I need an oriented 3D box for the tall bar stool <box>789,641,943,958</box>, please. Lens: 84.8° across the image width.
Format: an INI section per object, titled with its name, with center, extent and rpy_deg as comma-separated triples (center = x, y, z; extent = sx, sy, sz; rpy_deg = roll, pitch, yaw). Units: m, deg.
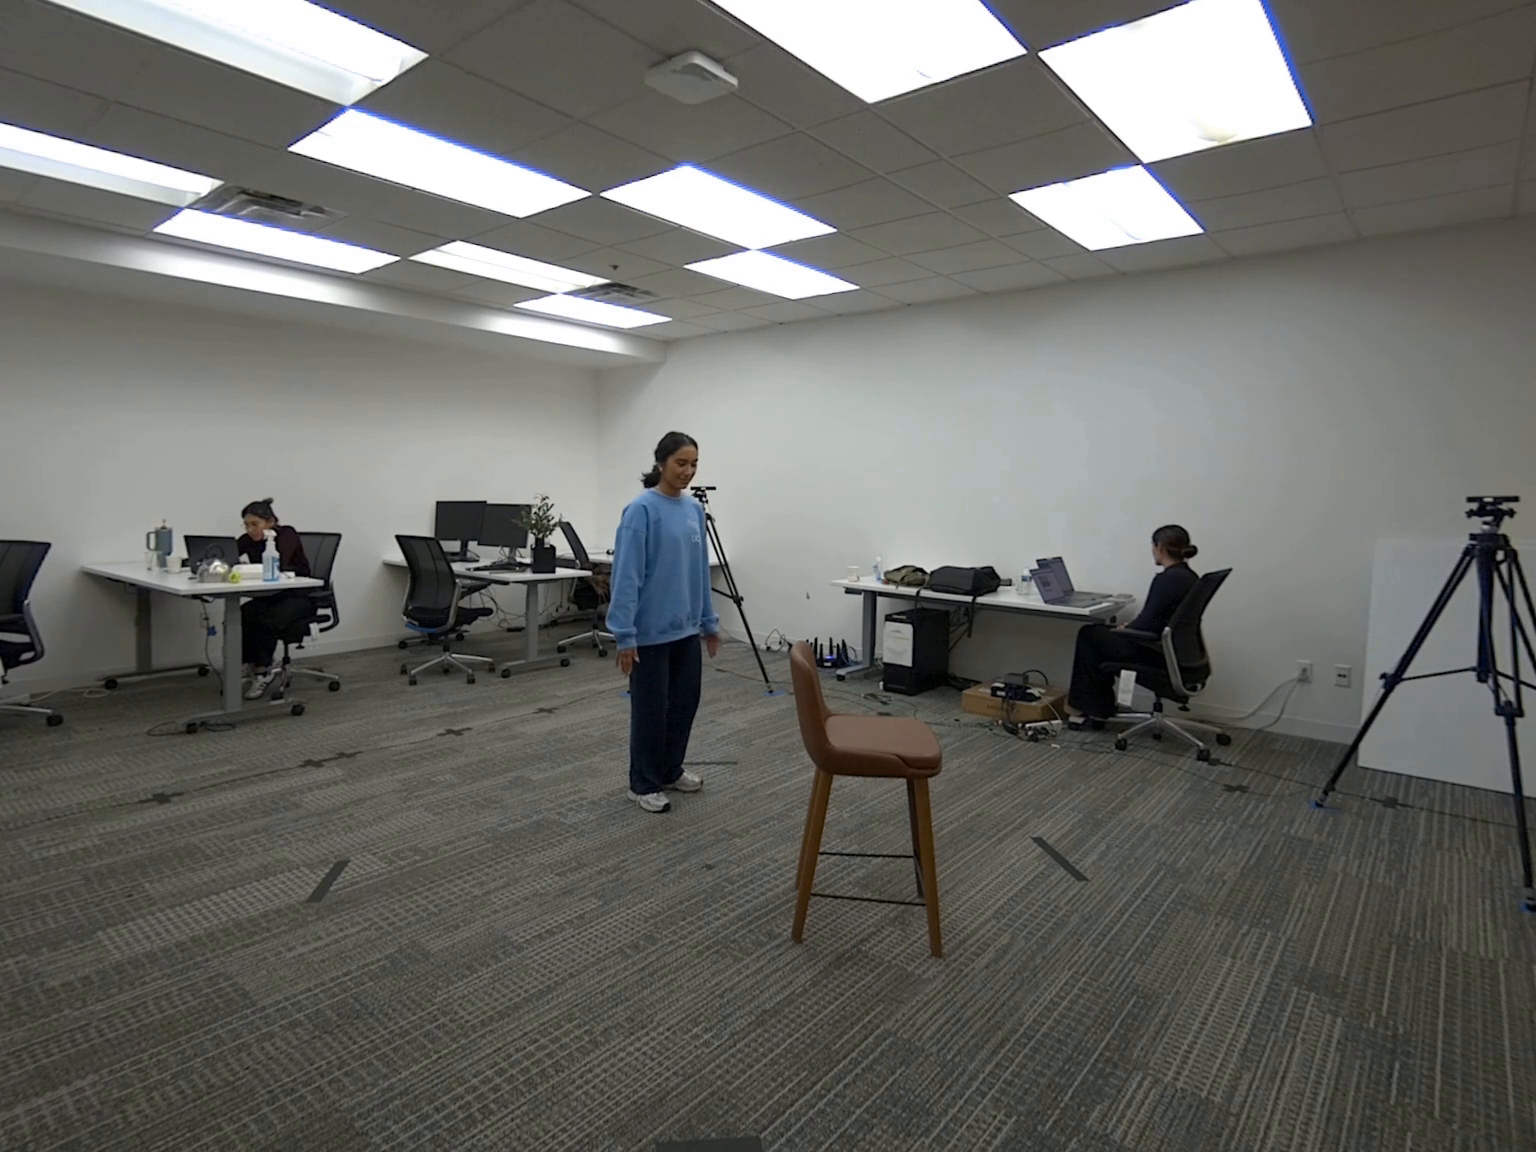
[tall bar stool]
center = 0.310, 0.679, 2.746
extent = 0.471, 0.887, 0.454
rpy_deg = 1, 3, 6
